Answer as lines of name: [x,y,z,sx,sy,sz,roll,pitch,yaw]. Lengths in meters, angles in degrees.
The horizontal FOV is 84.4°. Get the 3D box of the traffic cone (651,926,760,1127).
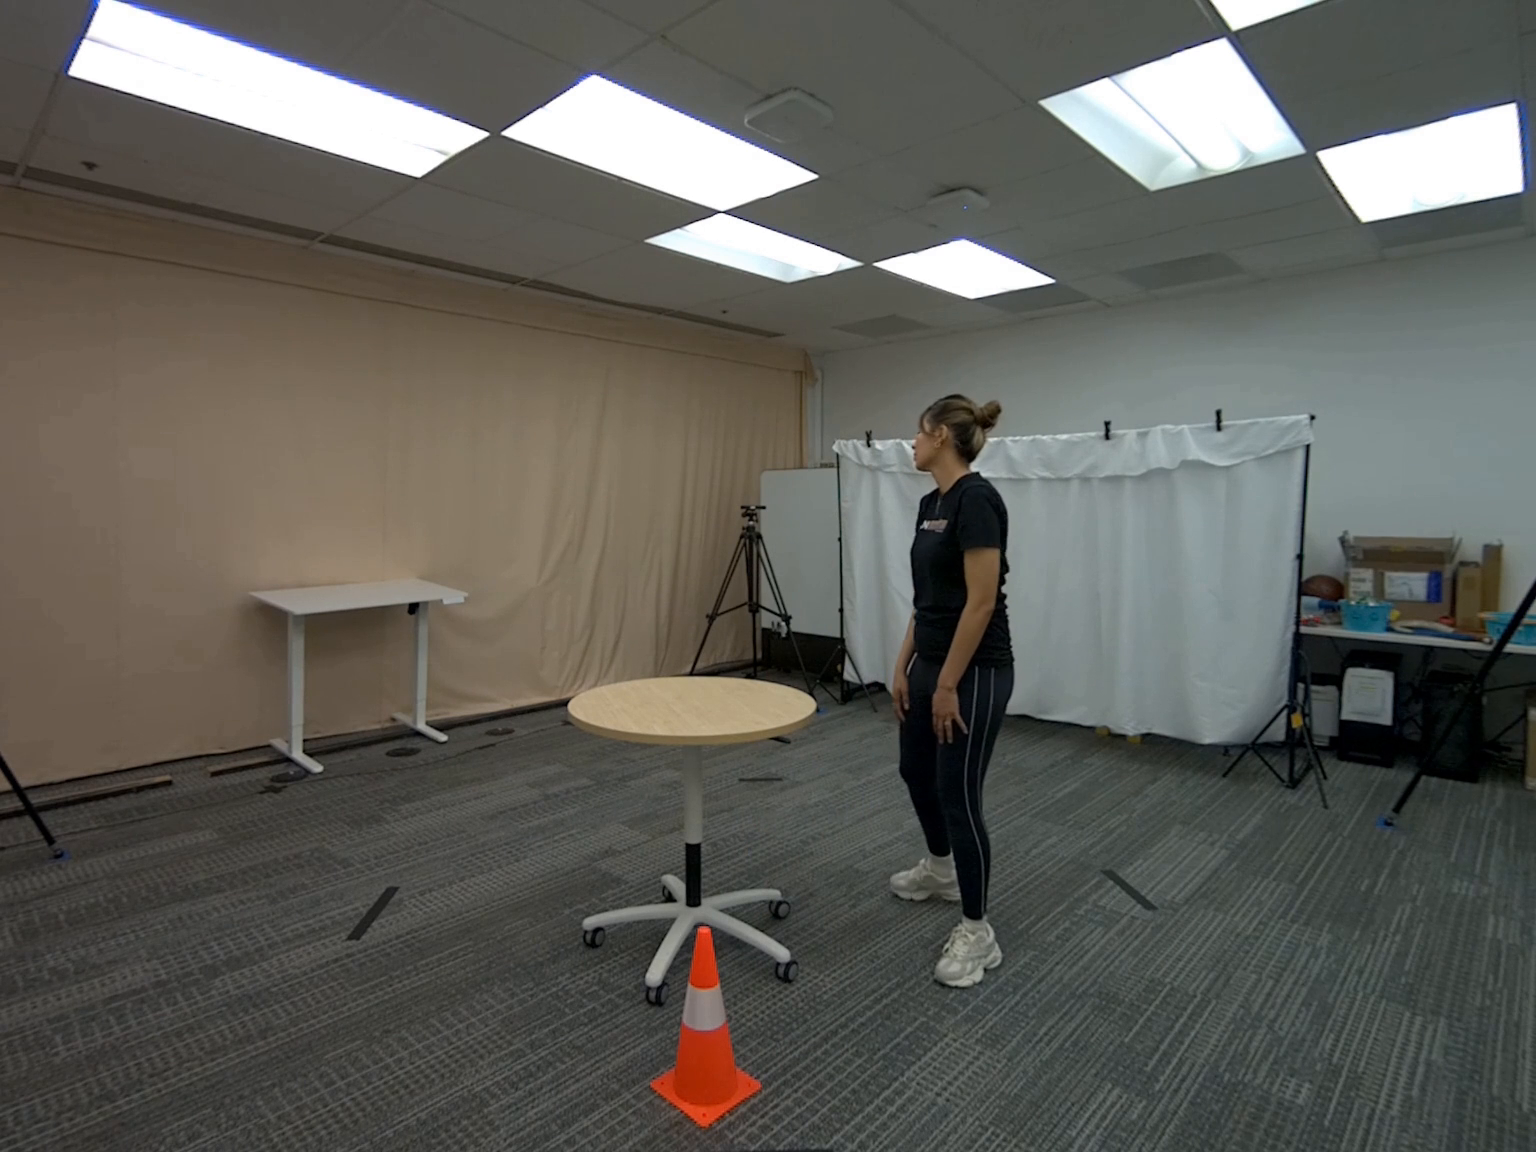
traffic cone: [-0.145,1.045,2.003,0.197,0.382,0.212,-4,5,-37]
